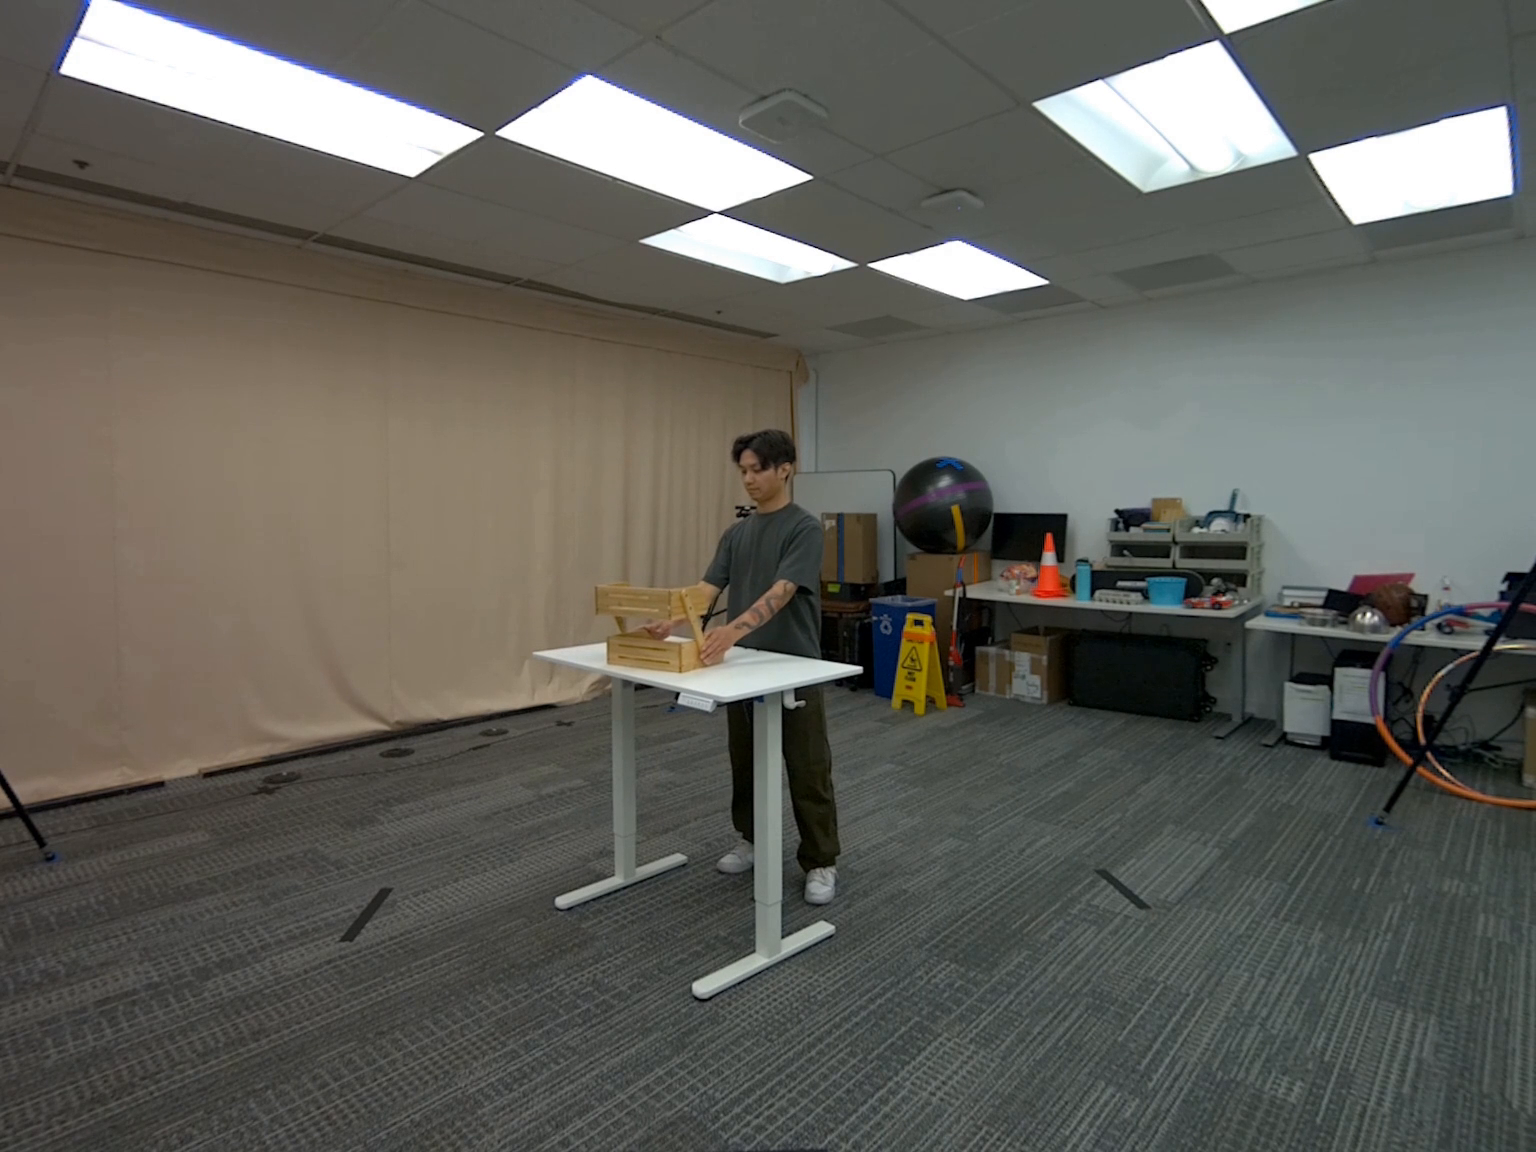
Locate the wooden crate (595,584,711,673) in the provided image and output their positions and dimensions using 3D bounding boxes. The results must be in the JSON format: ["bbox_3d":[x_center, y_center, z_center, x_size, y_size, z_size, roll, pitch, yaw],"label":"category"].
[{"bbox_3d":[-0.341,0.152,2.726,0.334,0.273,0.294,1,4,31],"label":"wooden crate"}]
